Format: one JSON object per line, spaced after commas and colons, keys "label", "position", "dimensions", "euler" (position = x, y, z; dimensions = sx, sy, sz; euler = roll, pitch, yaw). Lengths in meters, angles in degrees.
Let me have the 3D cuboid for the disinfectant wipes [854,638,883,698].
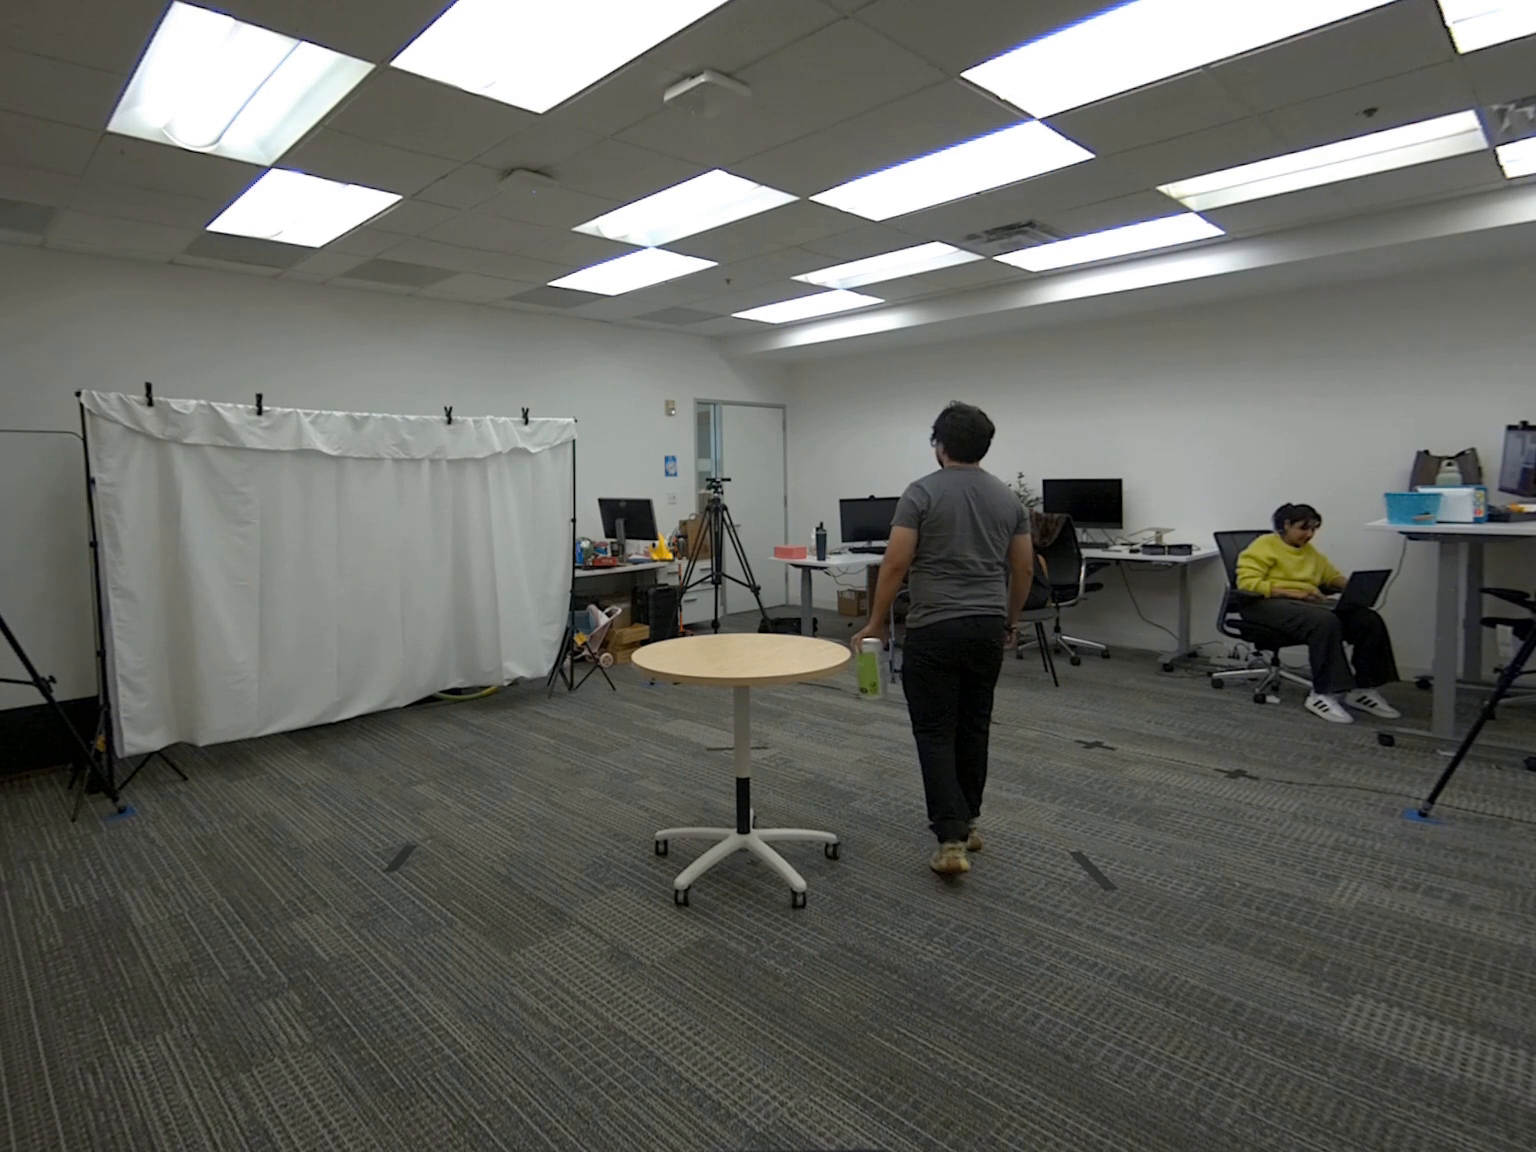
{"label": "disinfectant wipes", "position": [0.384, 0.349, 3.244], "dimensions": [0.118, 0.214, 0.119], "euler": [-6, 14, 0]}
